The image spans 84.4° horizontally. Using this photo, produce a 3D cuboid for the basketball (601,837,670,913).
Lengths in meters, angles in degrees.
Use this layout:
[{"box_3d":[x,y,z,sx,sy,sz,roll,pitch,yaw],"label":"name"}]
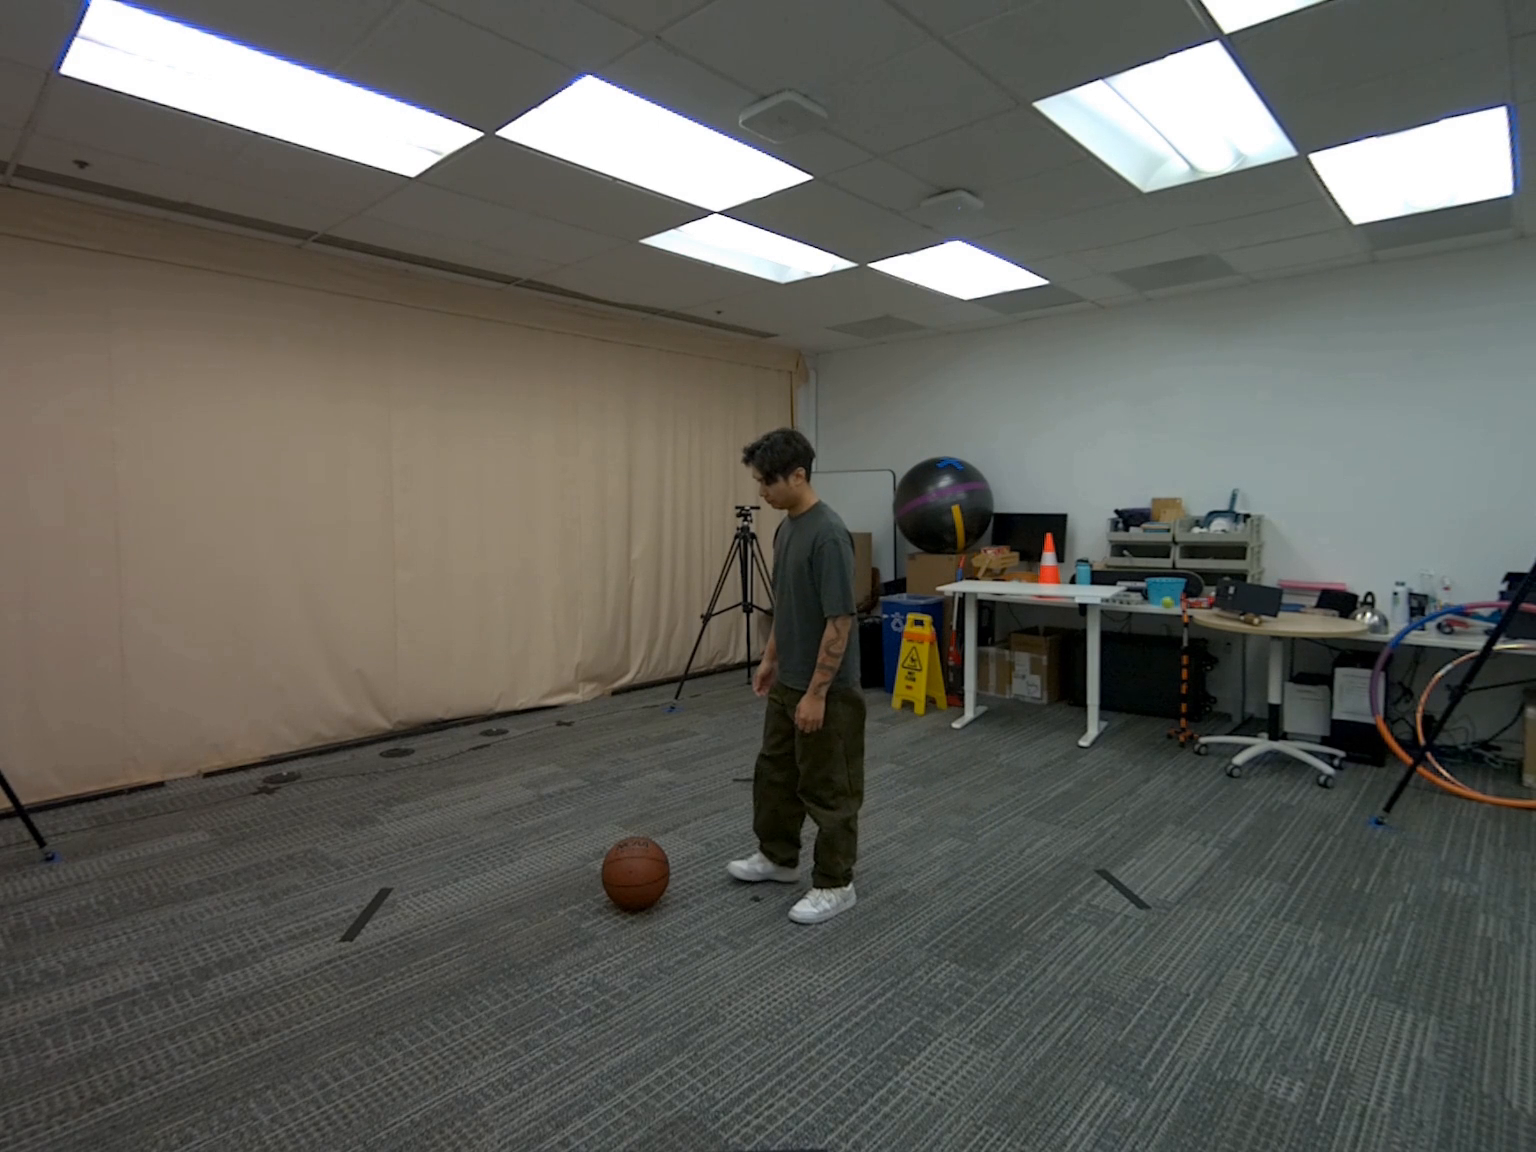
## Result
[{"box_3d":[-0.458,1.034,2.925,0.236,0.235,0.237,0,4,-2],"label":"basketball"}]
